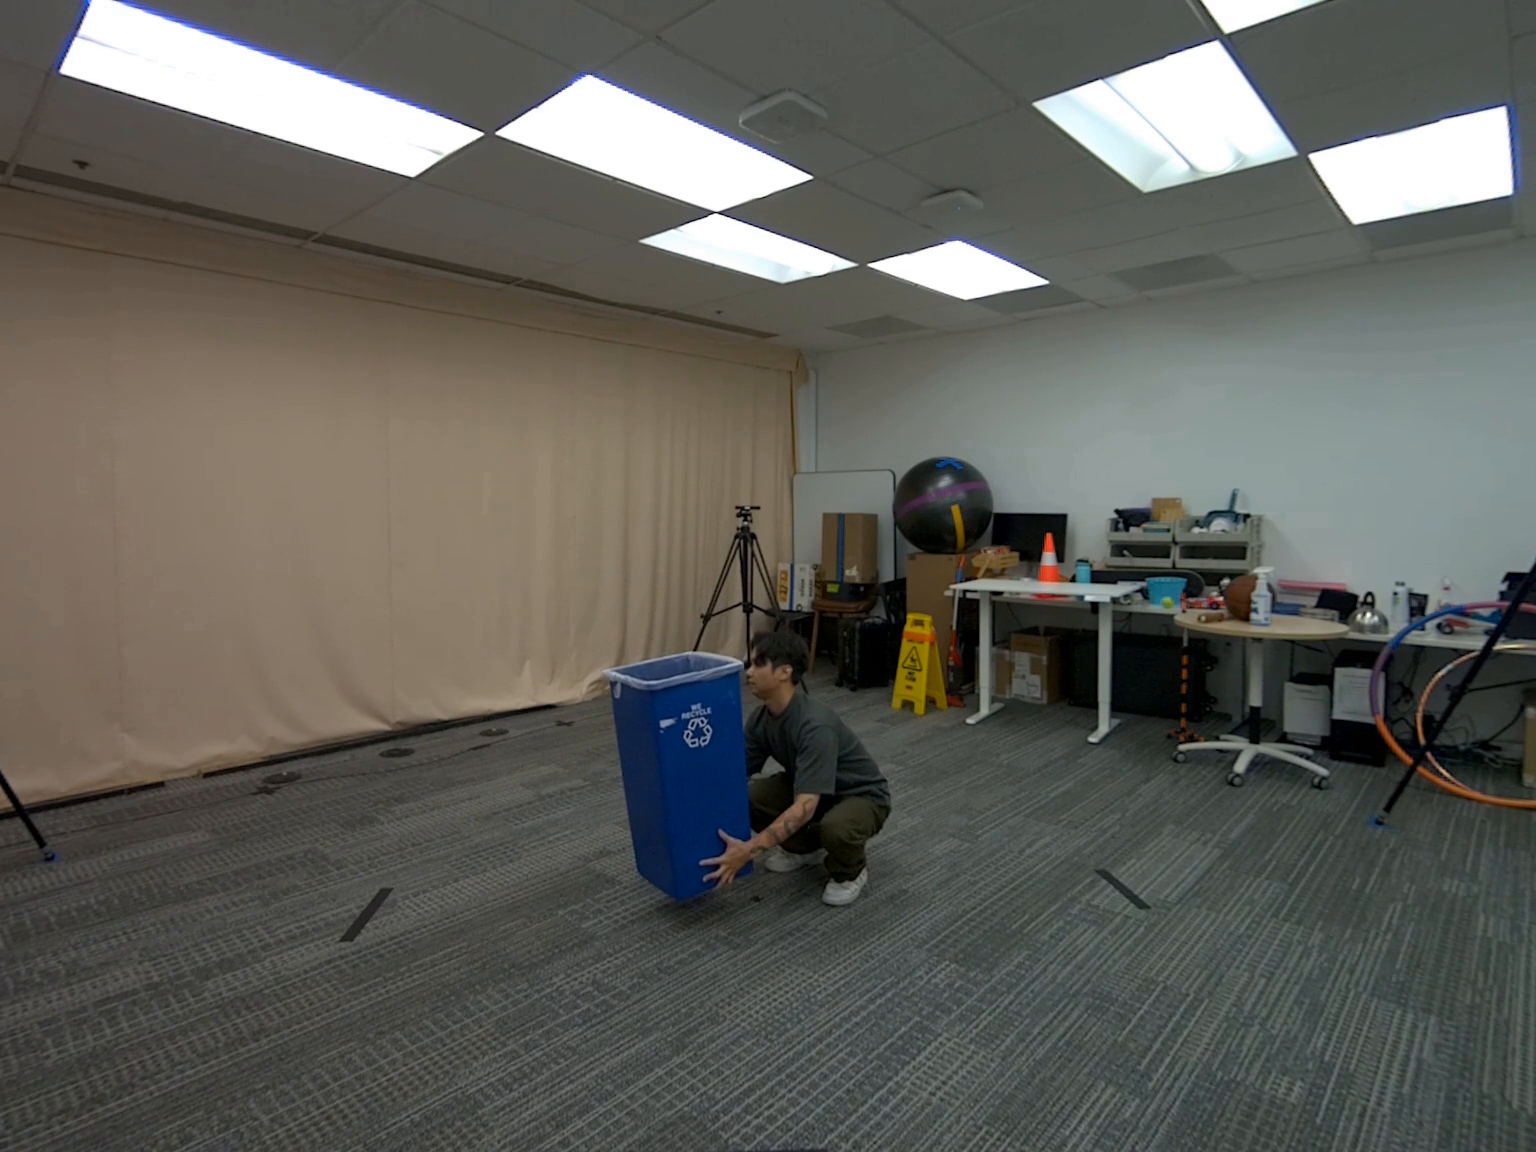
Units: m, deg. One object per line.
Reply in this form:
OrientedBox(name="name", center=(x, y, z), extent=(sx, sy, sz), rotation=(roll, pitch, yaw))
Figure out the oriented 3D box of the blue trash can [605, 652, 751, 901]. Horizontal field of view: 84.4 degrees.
OrientedBox(name="blue trash can", center=(-0.277, 0.653, 2.847), extent=(0.368, 0.712, 0.385), rotation=(-8, 4, -33))
